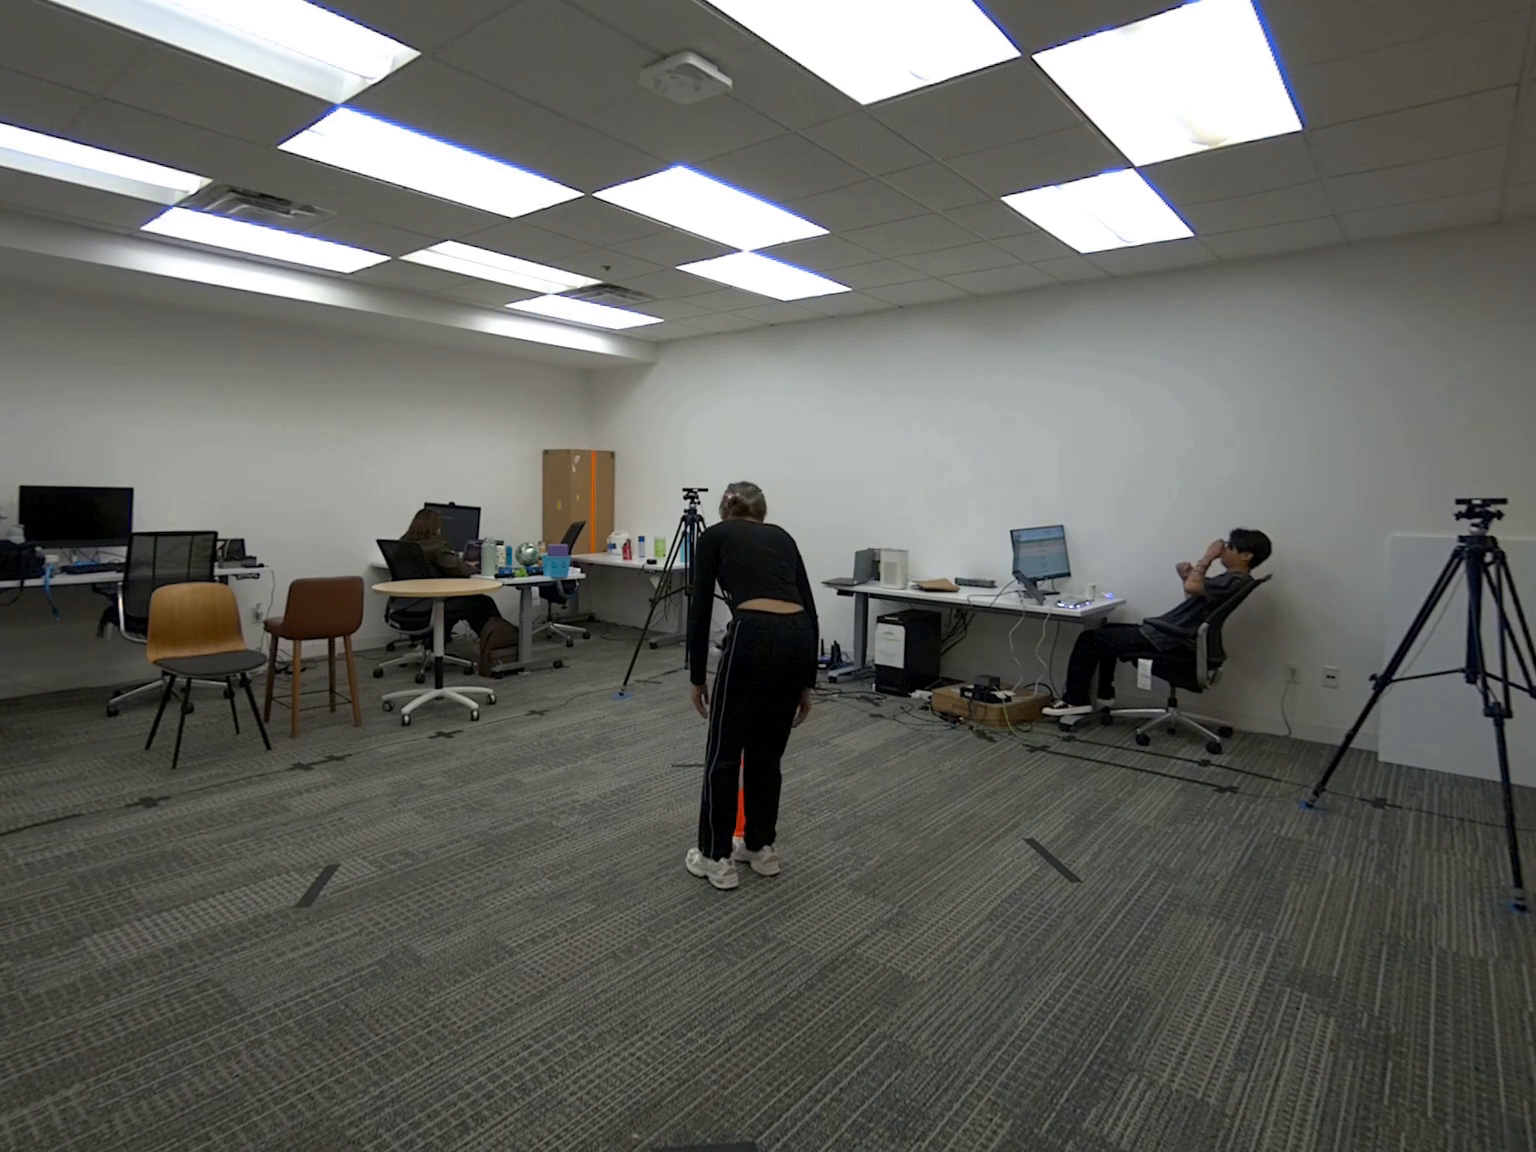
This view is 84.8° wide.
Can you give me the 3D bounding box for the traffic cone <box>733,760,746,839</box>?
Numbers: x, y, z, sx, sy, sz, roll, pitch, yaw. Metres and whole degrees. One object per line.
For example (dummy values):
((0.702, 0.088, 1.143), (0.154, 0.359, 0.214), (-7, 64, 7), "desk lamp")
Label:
((-0.149, 0.838, 3.511), (0.199, 0.383, 0.210), (-2, 4, -41), "traffic cone")
